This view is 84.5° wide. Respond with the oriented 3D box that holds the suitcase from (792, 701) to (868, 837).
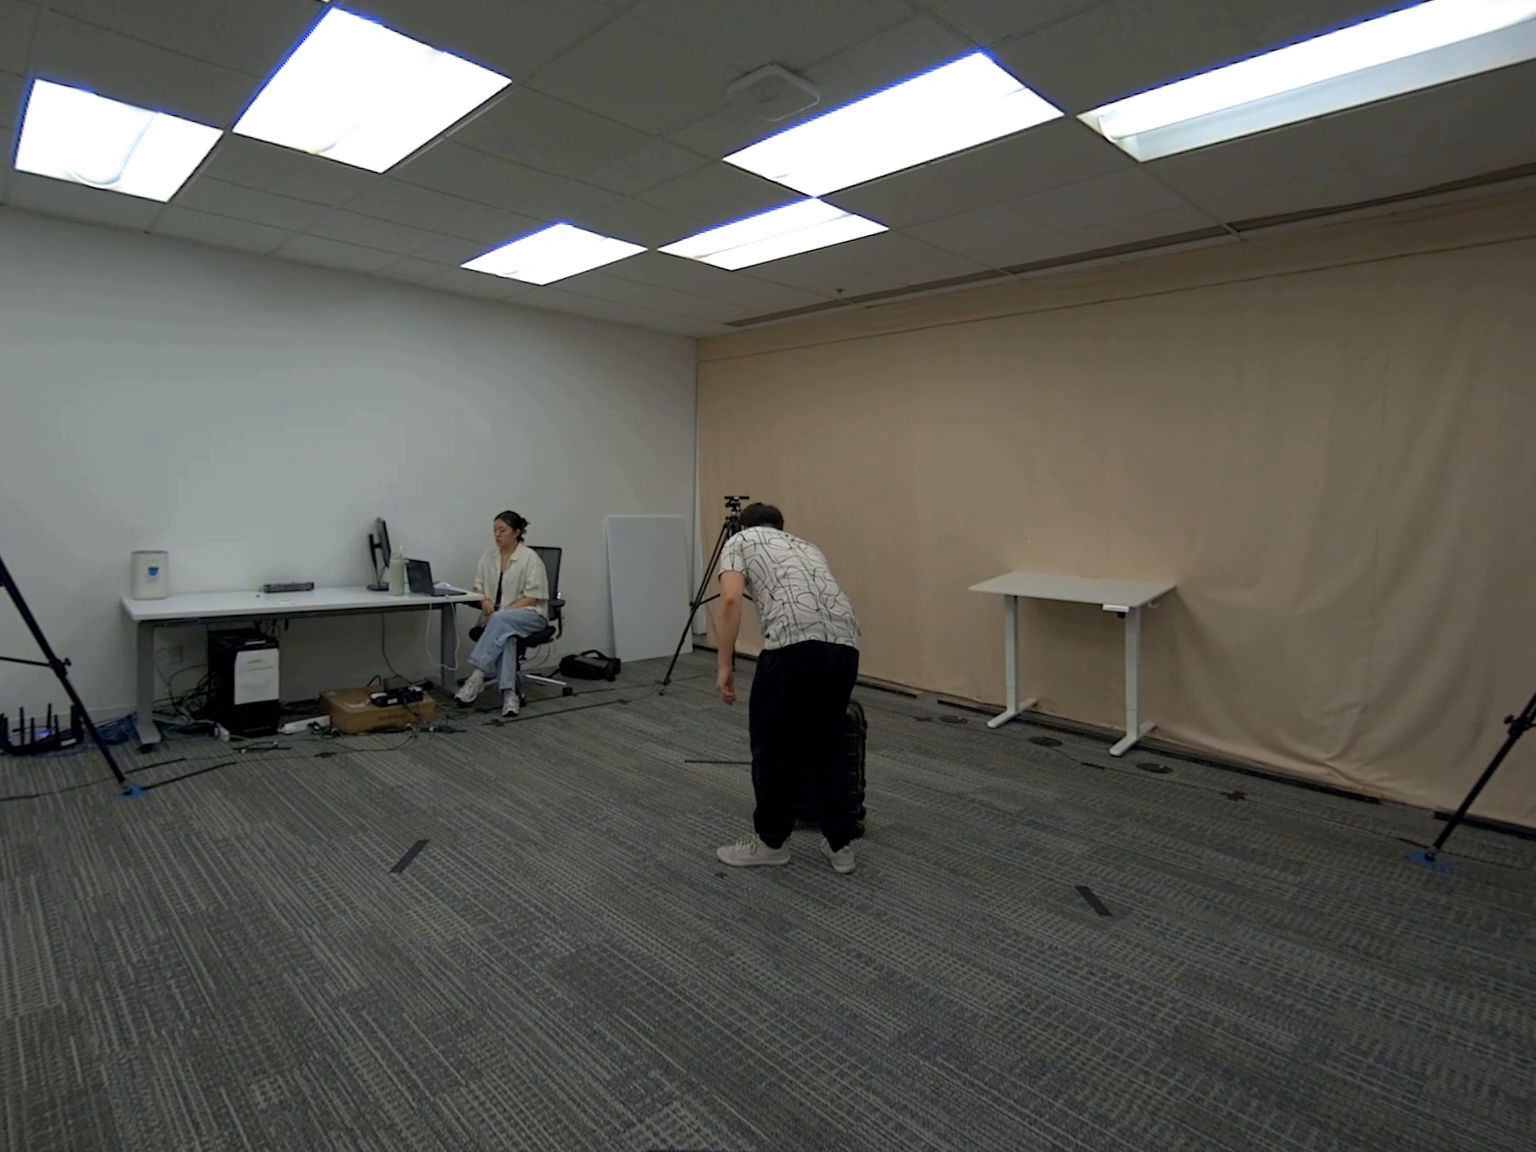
[{"bbox_3d":[0.228,0.793,3.622,0.379,0.548,0.246,1,2,11],"label":"suitcase"}]
